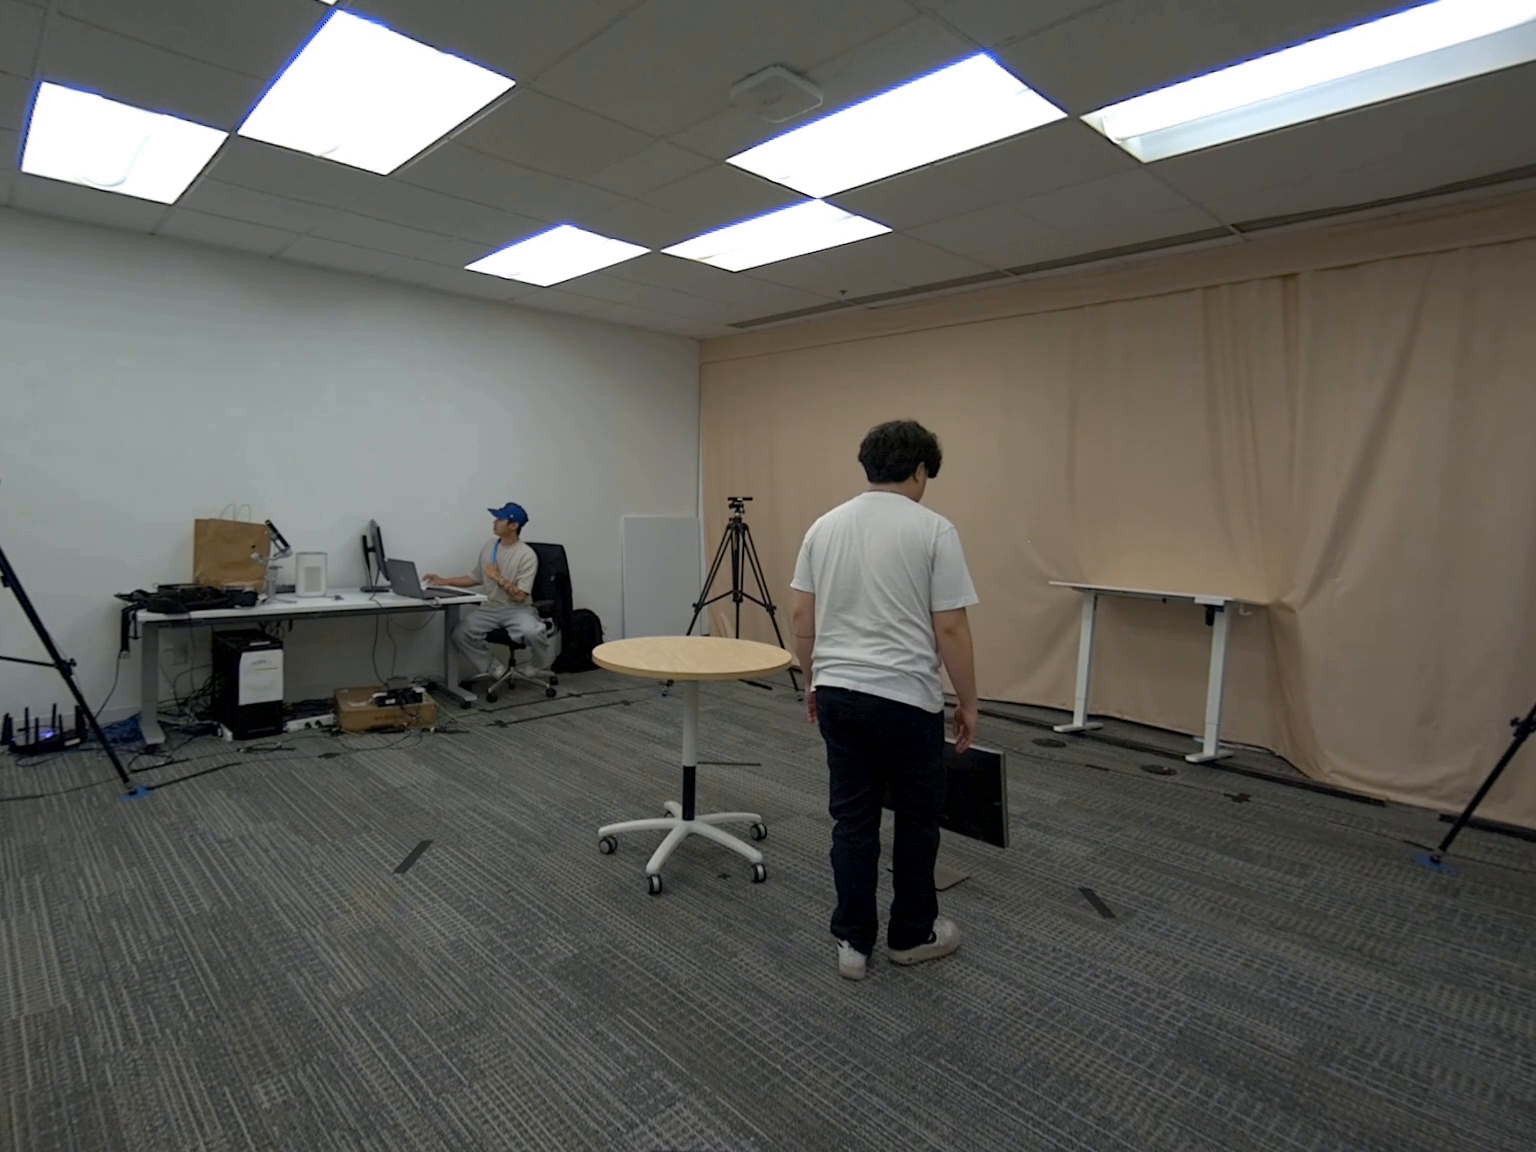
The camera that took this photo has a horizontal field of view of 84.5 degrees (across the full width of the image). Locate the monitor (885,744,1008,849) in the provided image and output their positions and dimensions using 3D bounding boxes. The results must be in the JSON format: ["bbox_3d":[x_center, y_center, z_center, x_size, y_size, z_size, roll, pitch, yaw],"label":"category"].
[{"bbox_3d":[0.591,0.869,3.151,0.205,0.552,0.580,-5,7,-43],"label":"monitor"}]
